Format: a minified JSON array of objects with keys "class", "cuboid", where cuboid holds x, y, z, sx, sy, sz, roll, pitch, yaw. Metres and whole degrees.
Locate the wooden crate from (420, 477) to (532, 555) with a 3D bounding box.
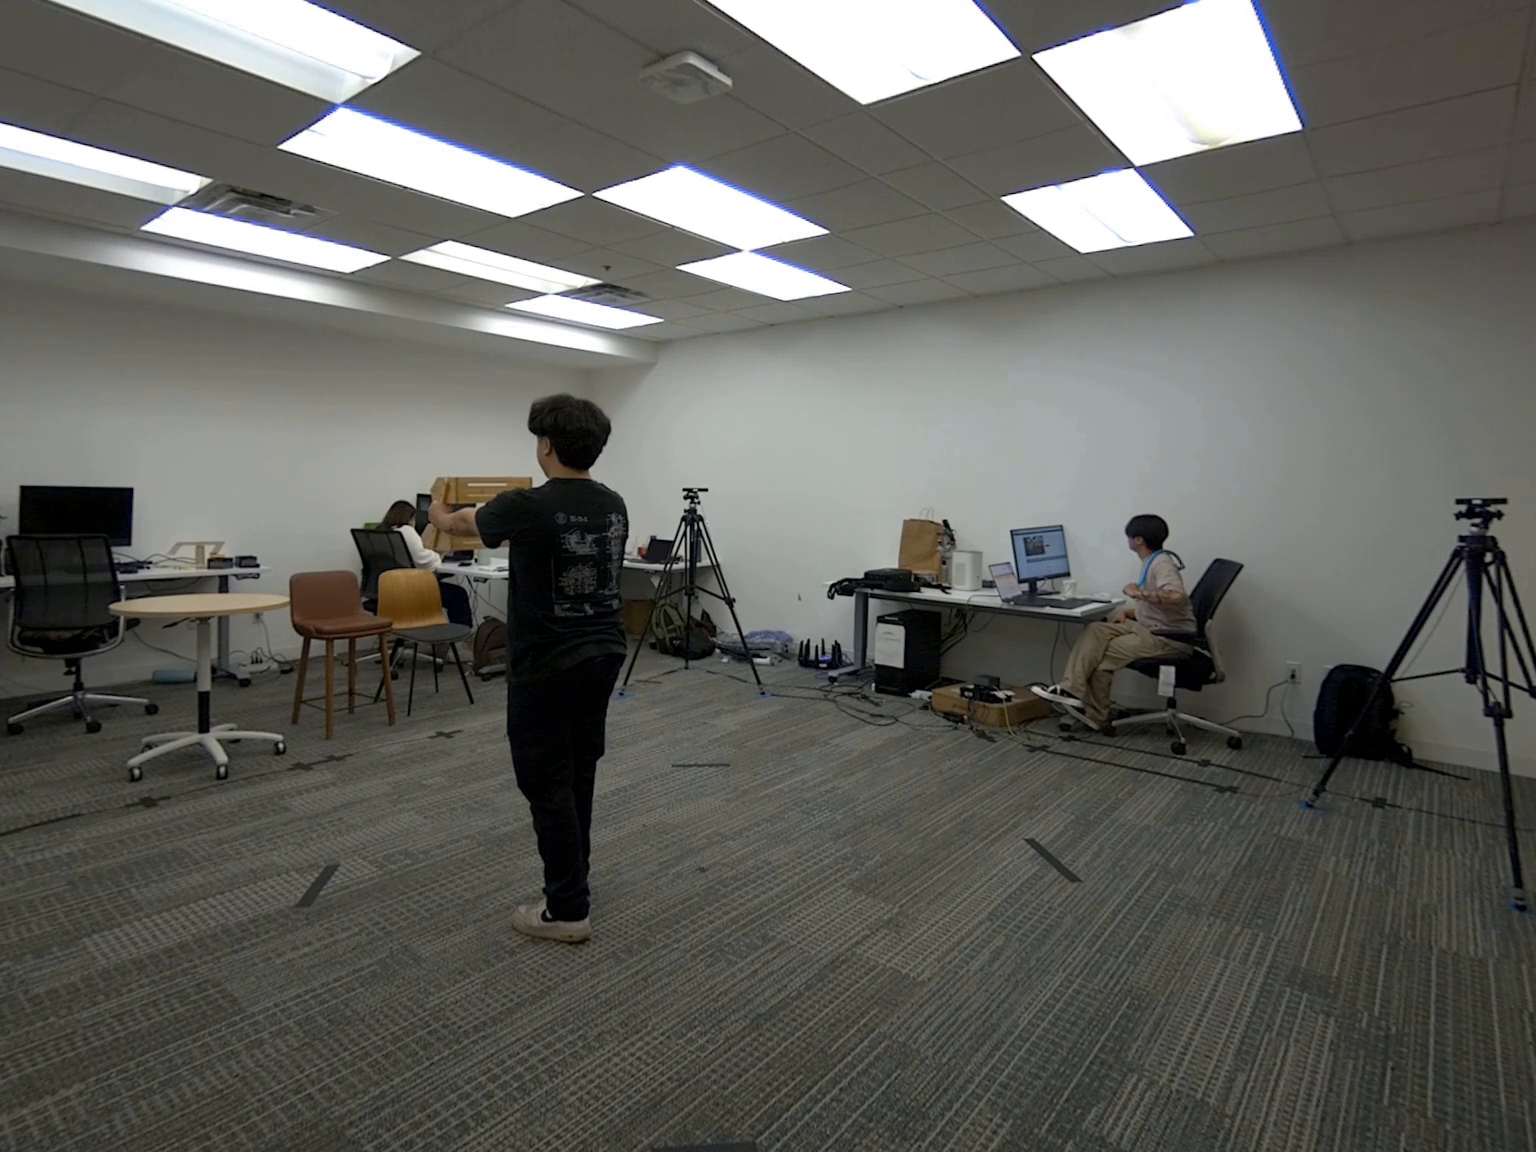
[{"class":"wooden crate","cuboid":[-1.098,-0.246,3.155,0.312,0.272,0.315,5,7,43]}]
